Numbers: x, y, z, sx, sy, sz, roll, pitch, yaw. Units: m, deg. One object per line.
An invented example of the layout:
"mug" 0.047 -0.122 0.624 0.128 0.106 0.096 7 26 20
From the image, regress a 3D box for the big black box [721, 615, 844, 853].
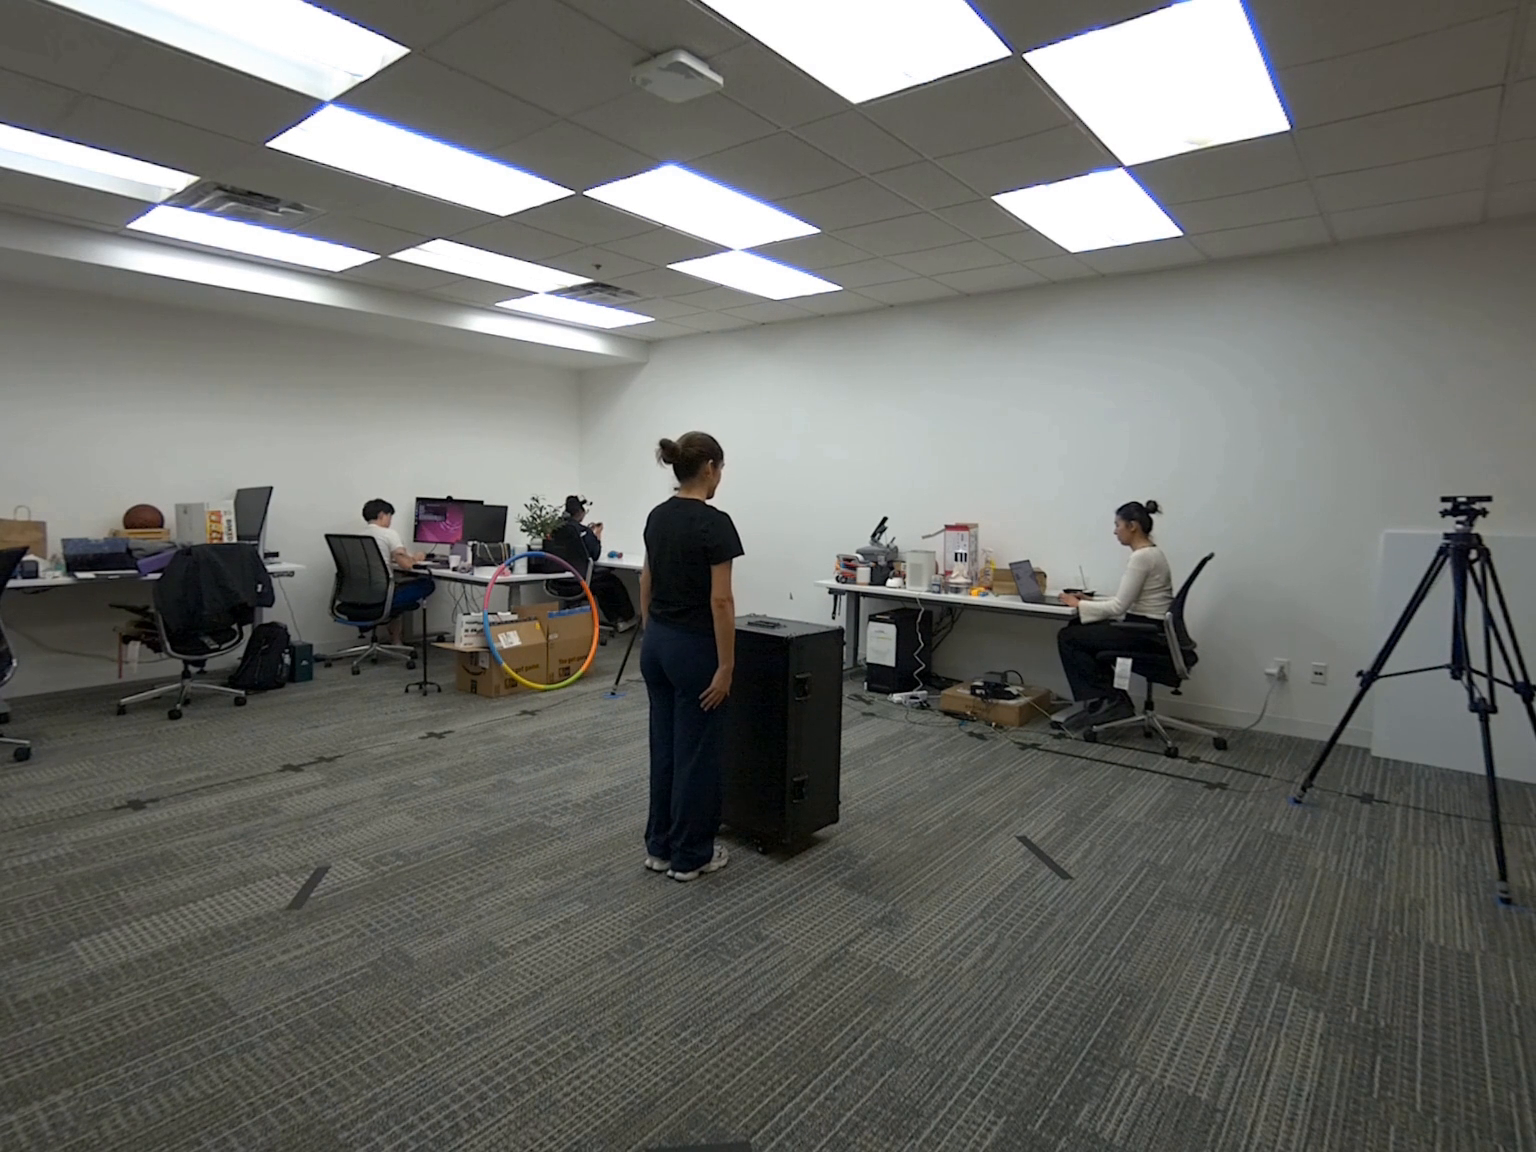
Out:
"big black box" 0.021 0.616 3.430 0.539 0.860 0.384 4 3 42
